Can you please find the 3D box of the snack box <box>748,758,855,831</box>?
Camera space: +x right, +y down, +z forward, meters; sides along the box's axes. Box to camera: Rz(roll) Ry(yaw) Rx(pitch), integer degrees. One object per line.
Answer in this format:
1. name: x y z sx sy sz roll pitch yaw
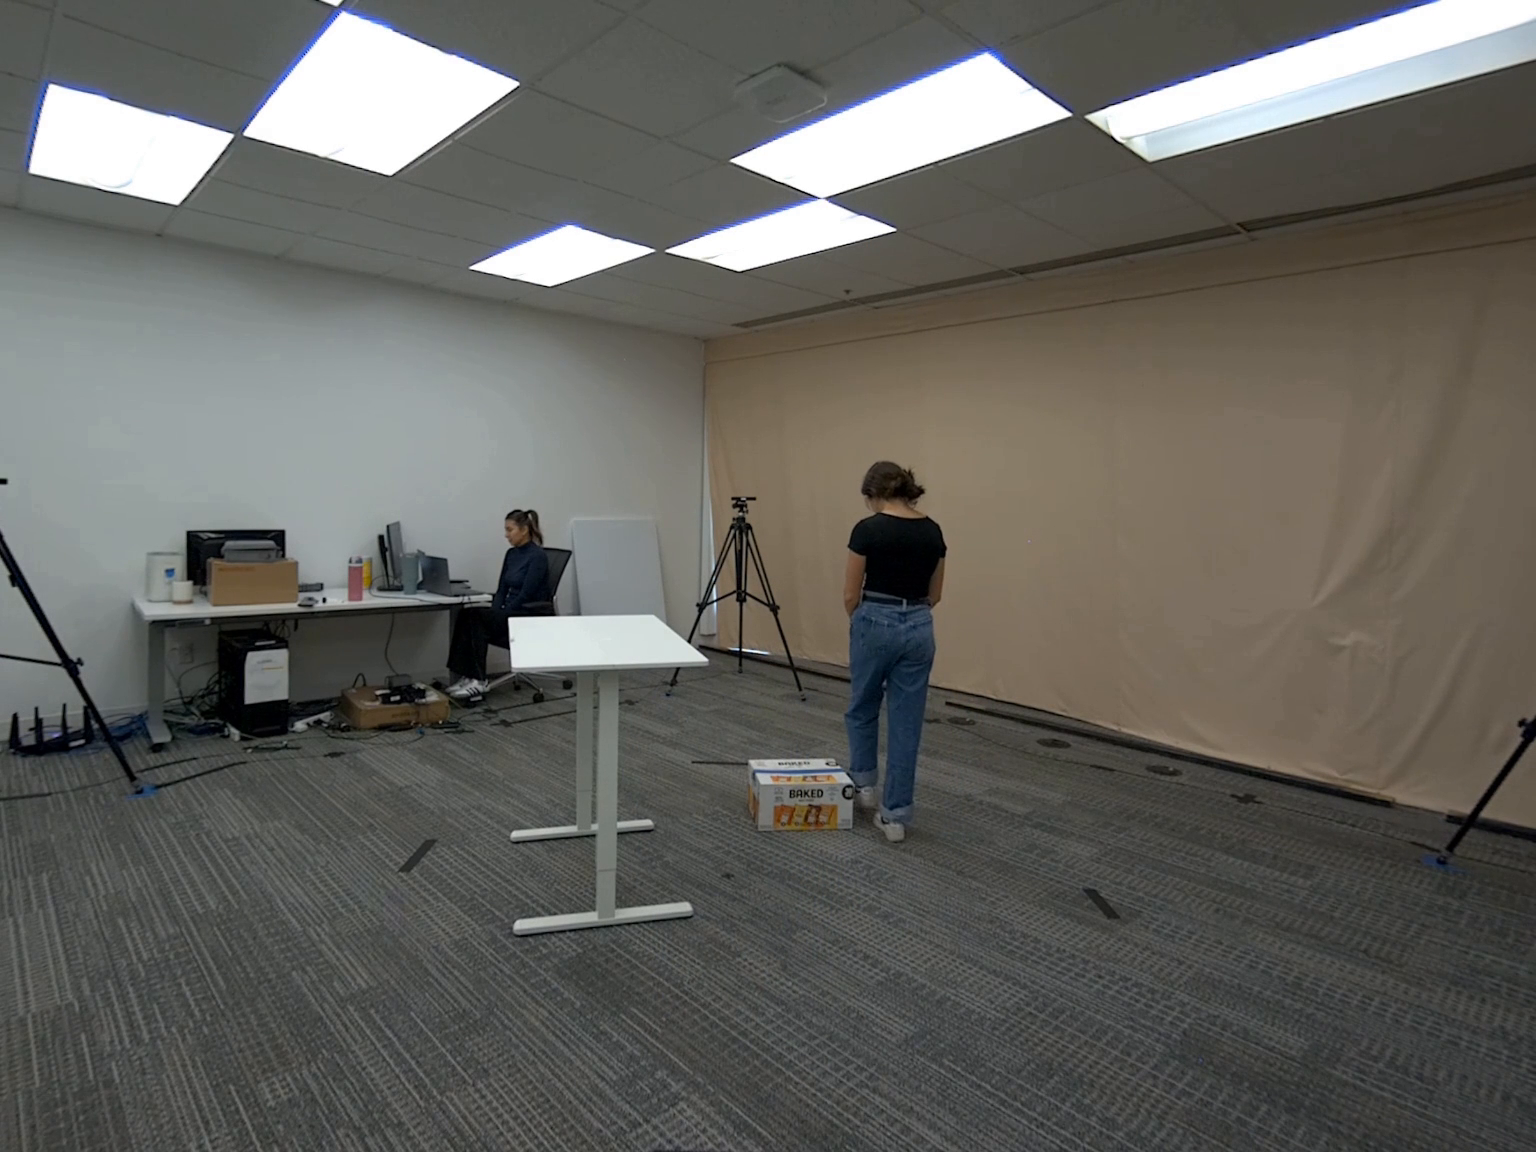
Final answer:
1. snack box: 0.127 0.956 3.716 0.402 0.205 0.343 1 4 -8
